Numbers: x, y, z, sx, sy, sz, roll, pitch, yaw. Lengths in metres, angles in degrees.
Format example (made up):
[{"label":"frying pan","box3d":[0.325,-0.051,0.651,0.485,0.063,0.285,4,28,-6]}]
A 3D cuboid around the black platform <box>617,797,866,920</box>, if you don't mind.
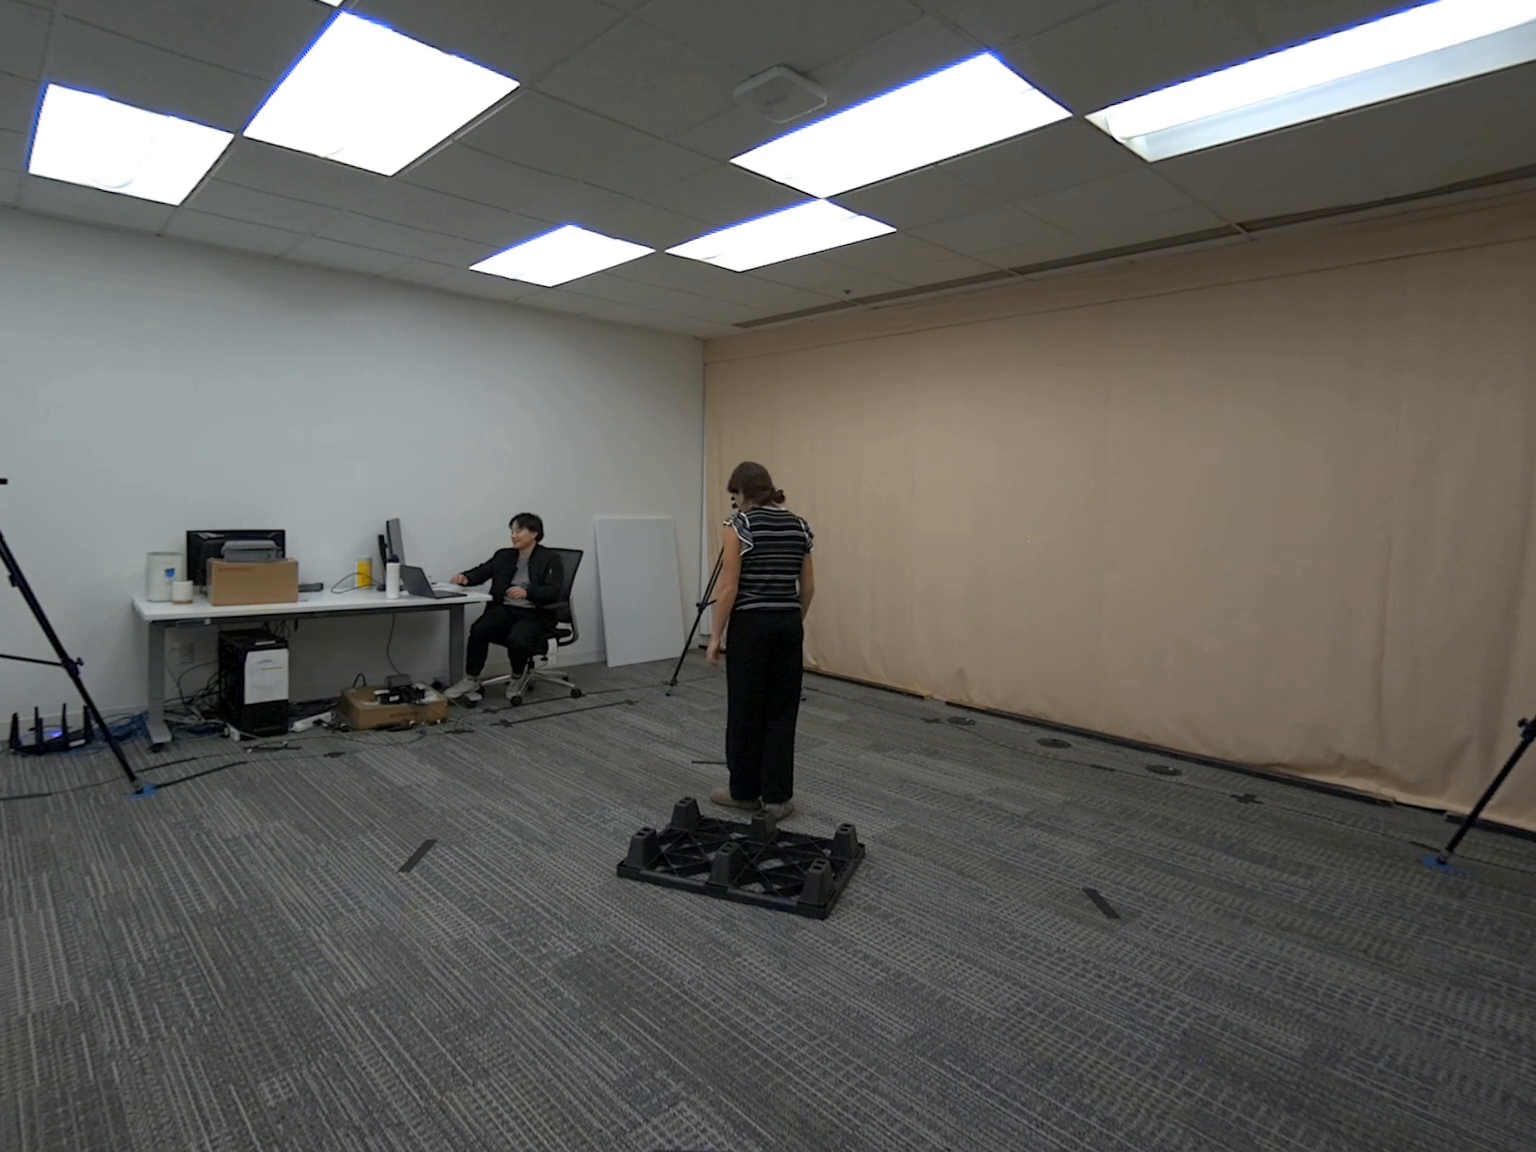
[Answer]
[{"label":"black platform","box3d":[-0.098,1.032,3.200,0.819,0.143,0.597,3,5,20]}]
